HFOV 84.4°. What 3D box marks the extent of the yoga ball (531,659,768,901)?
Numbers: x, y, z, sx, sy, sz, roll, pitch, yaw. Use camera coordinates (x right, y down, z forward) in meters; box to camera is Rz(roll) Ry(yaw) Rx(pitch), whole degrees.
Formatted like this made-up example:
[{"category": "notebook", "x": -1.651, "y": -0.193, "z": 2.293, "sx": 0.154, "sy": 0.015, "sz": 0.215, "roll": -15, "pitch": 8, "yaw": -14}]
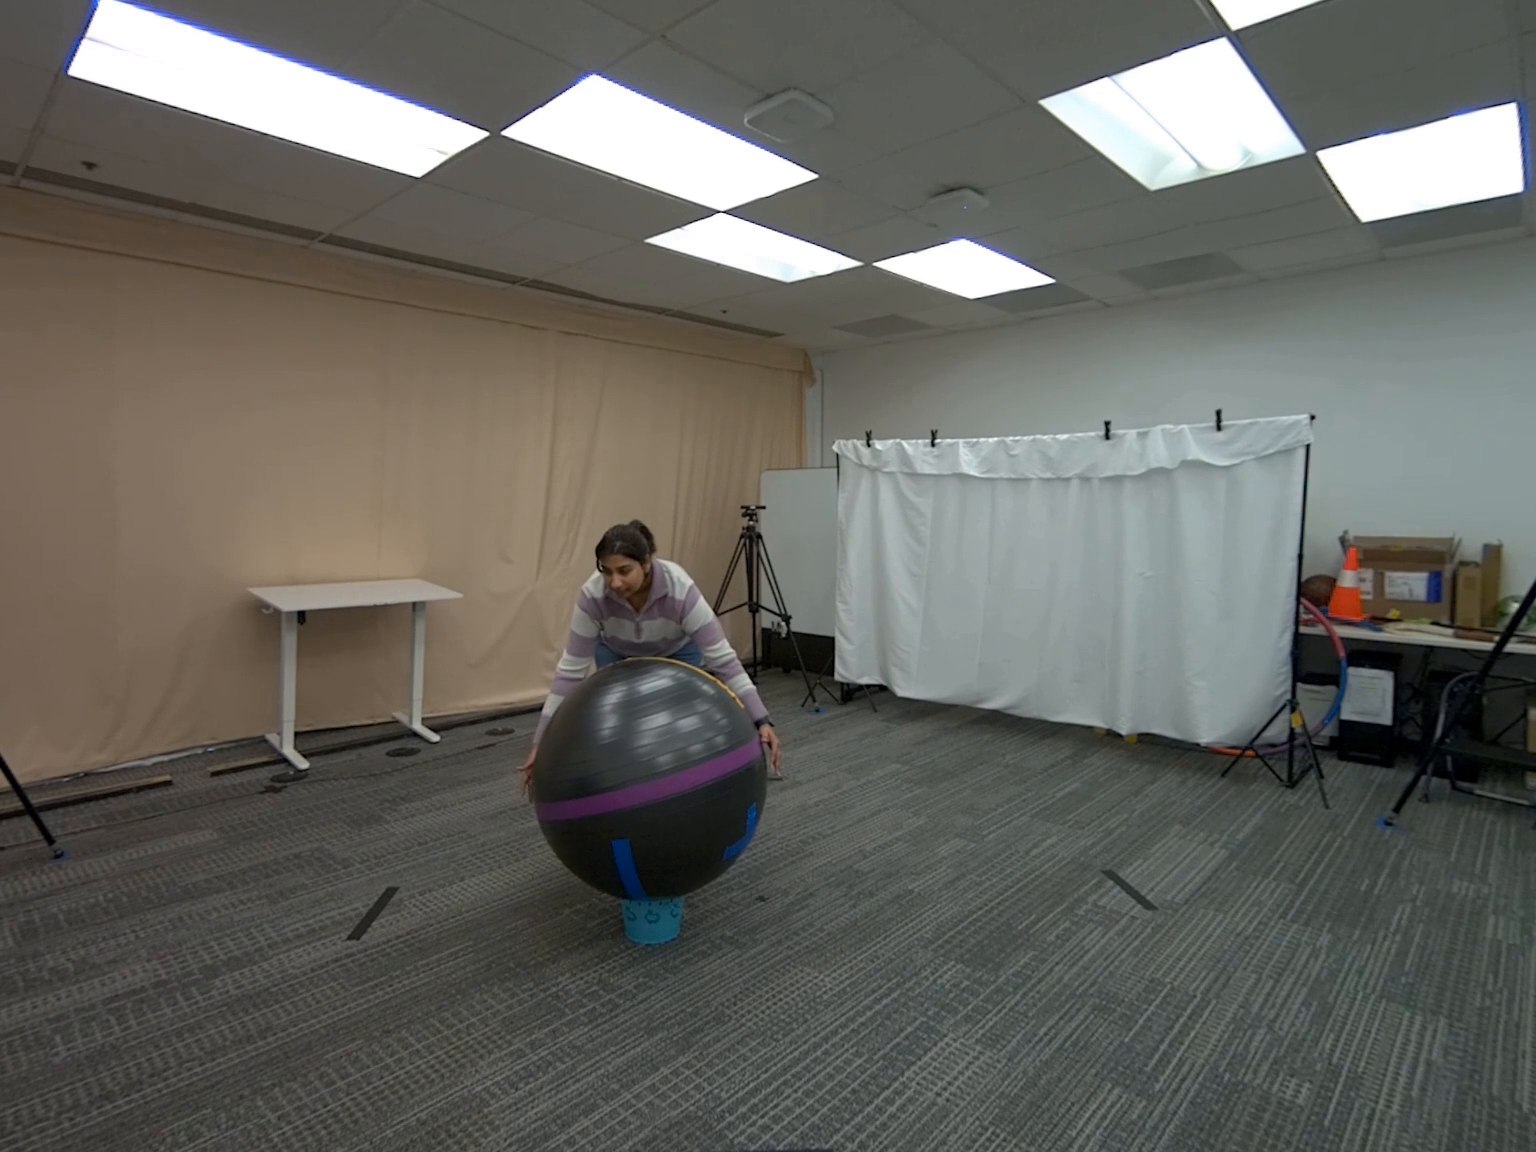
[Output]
[{"category": "yoga ball", "x": -0.384, "y": 0.657, "z": 2.749, "sx": 0.757, "sy": 0.756, "sz": 0.761, "roll": 0, "pitch": 4, "yaw": -2}]
